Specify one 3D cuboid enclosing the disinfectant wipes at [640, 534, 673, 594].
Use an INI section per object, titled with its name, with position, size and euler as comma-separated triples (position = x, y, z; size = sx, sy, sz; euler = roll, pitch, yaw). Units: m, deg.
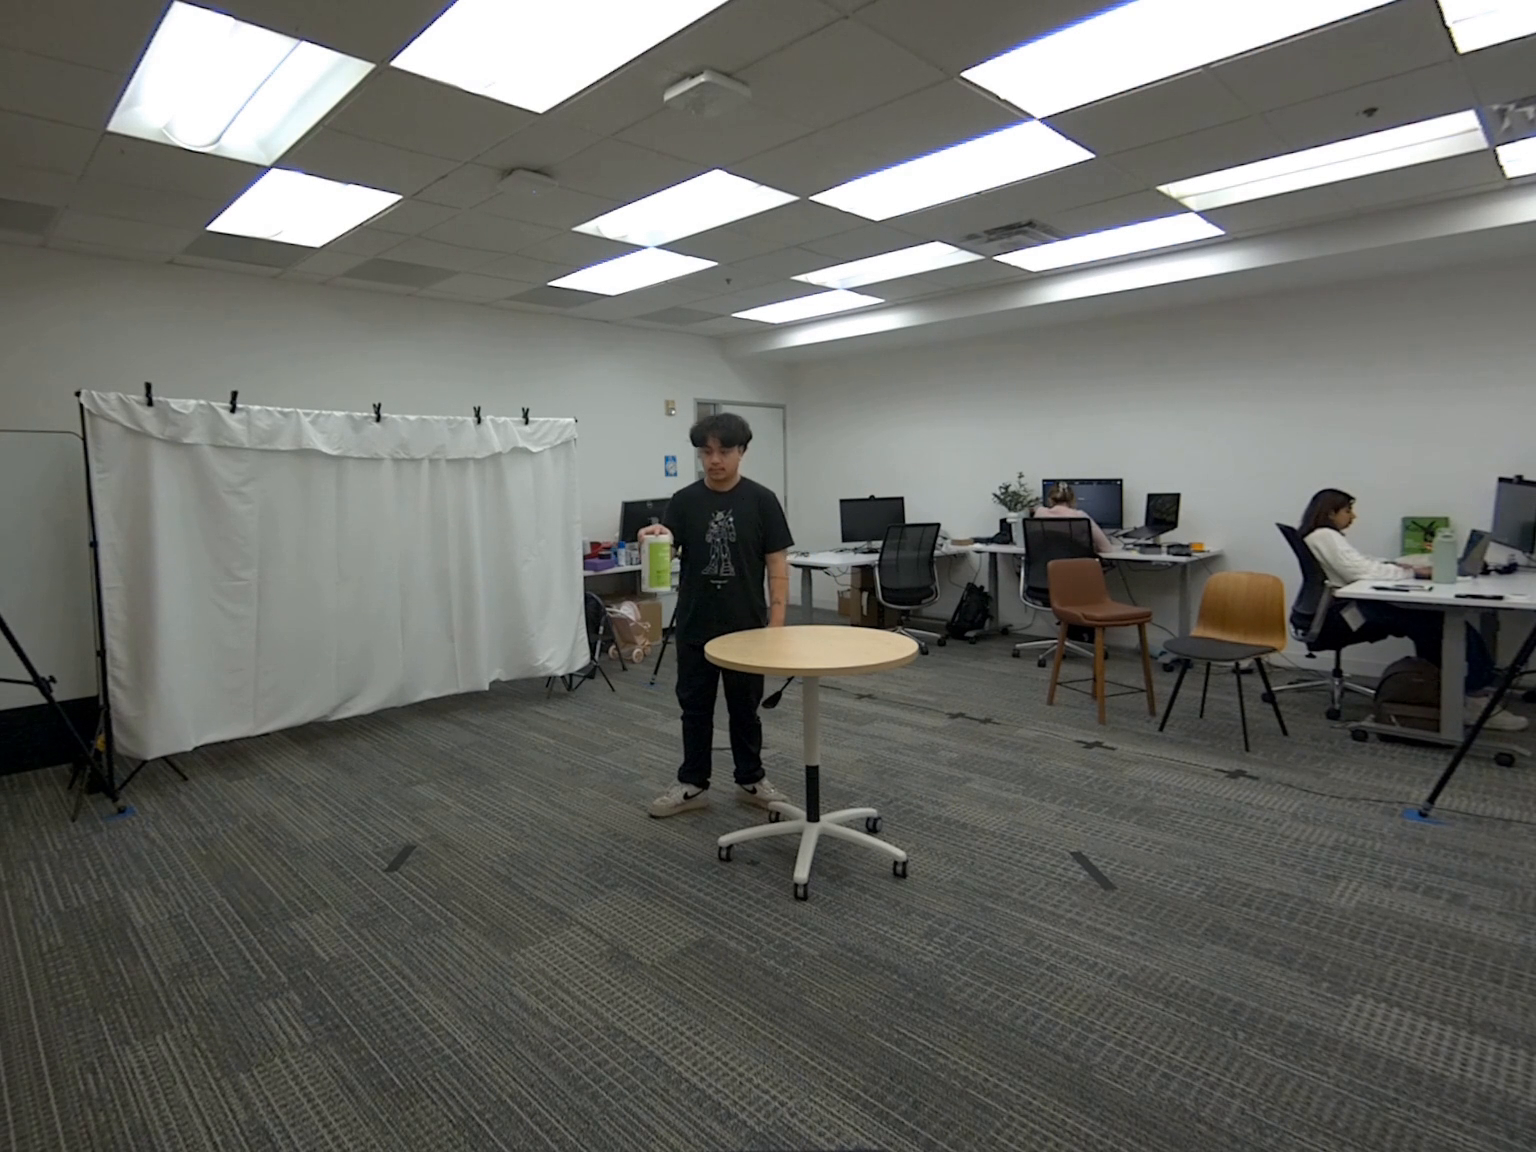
[disinfectant wipes]
position = -0.424, -0.047, 3.216
size = 0.118, 0.217, 0.118
euler = 0, 3, -2
